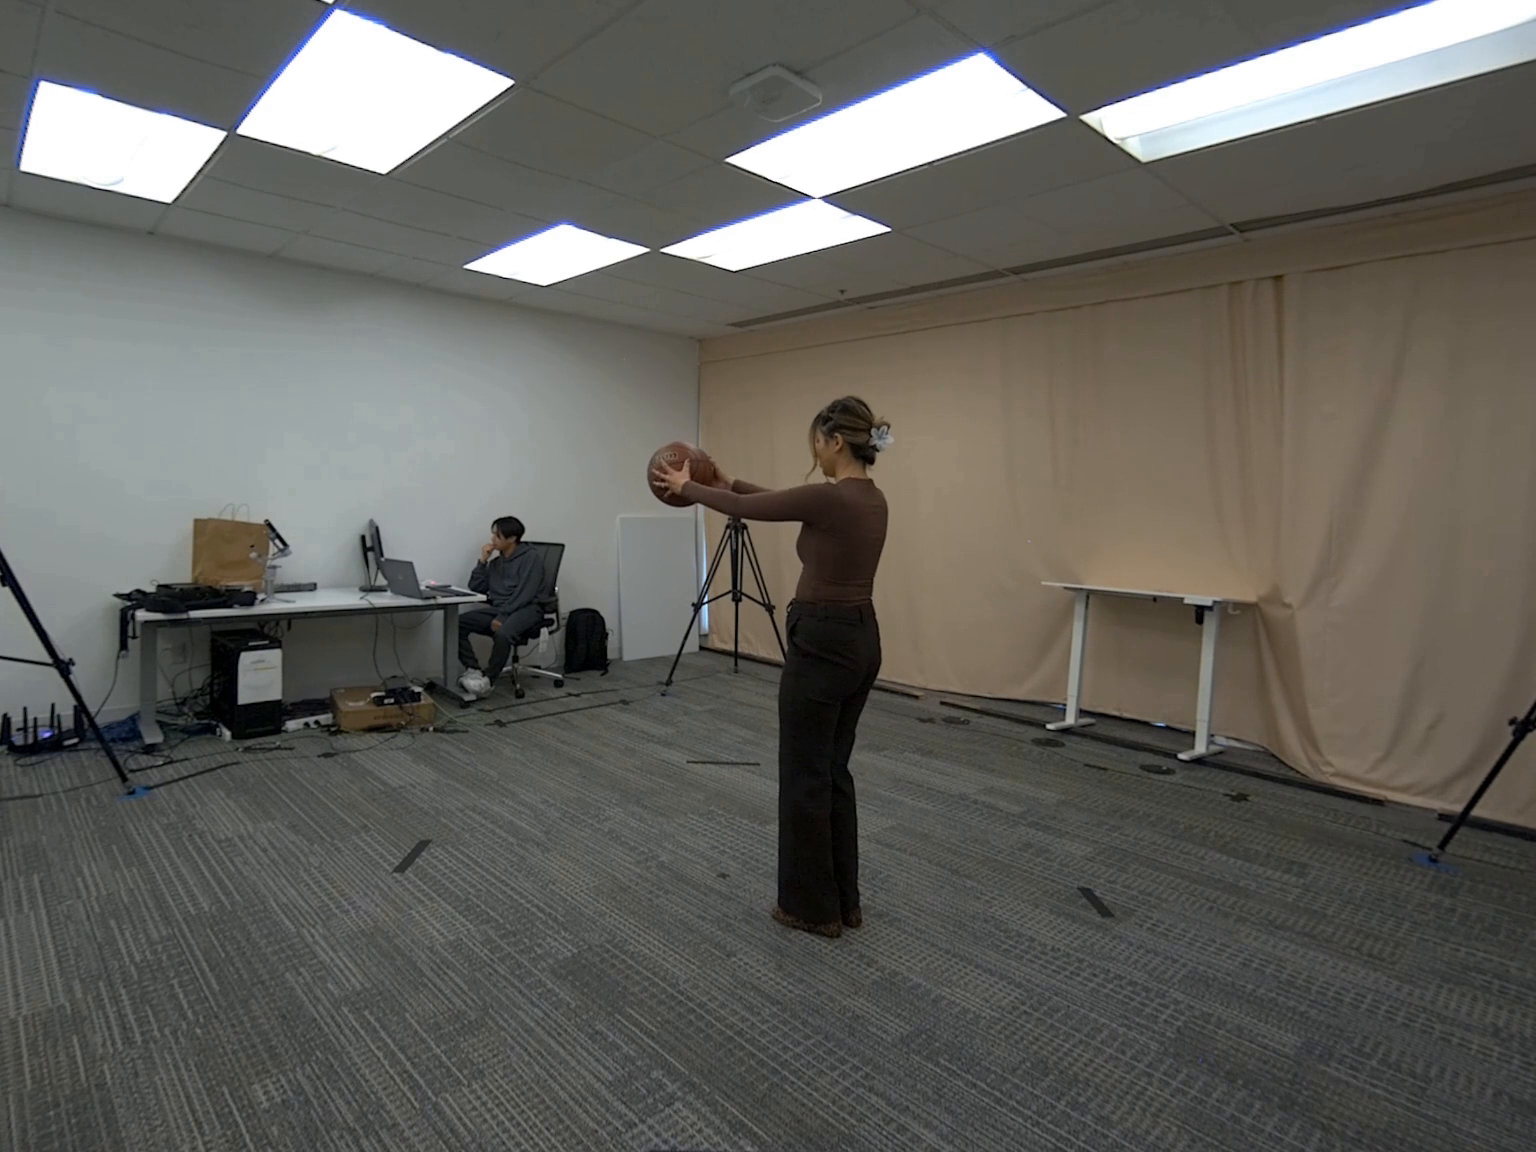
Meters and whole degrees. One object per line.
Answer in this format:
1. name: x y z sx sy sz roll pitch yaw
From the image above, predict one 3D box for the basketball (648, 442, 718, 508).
1. basketball: -0.315 -0.361 3.041 0.236 0.235 0.237 1 4 -1
